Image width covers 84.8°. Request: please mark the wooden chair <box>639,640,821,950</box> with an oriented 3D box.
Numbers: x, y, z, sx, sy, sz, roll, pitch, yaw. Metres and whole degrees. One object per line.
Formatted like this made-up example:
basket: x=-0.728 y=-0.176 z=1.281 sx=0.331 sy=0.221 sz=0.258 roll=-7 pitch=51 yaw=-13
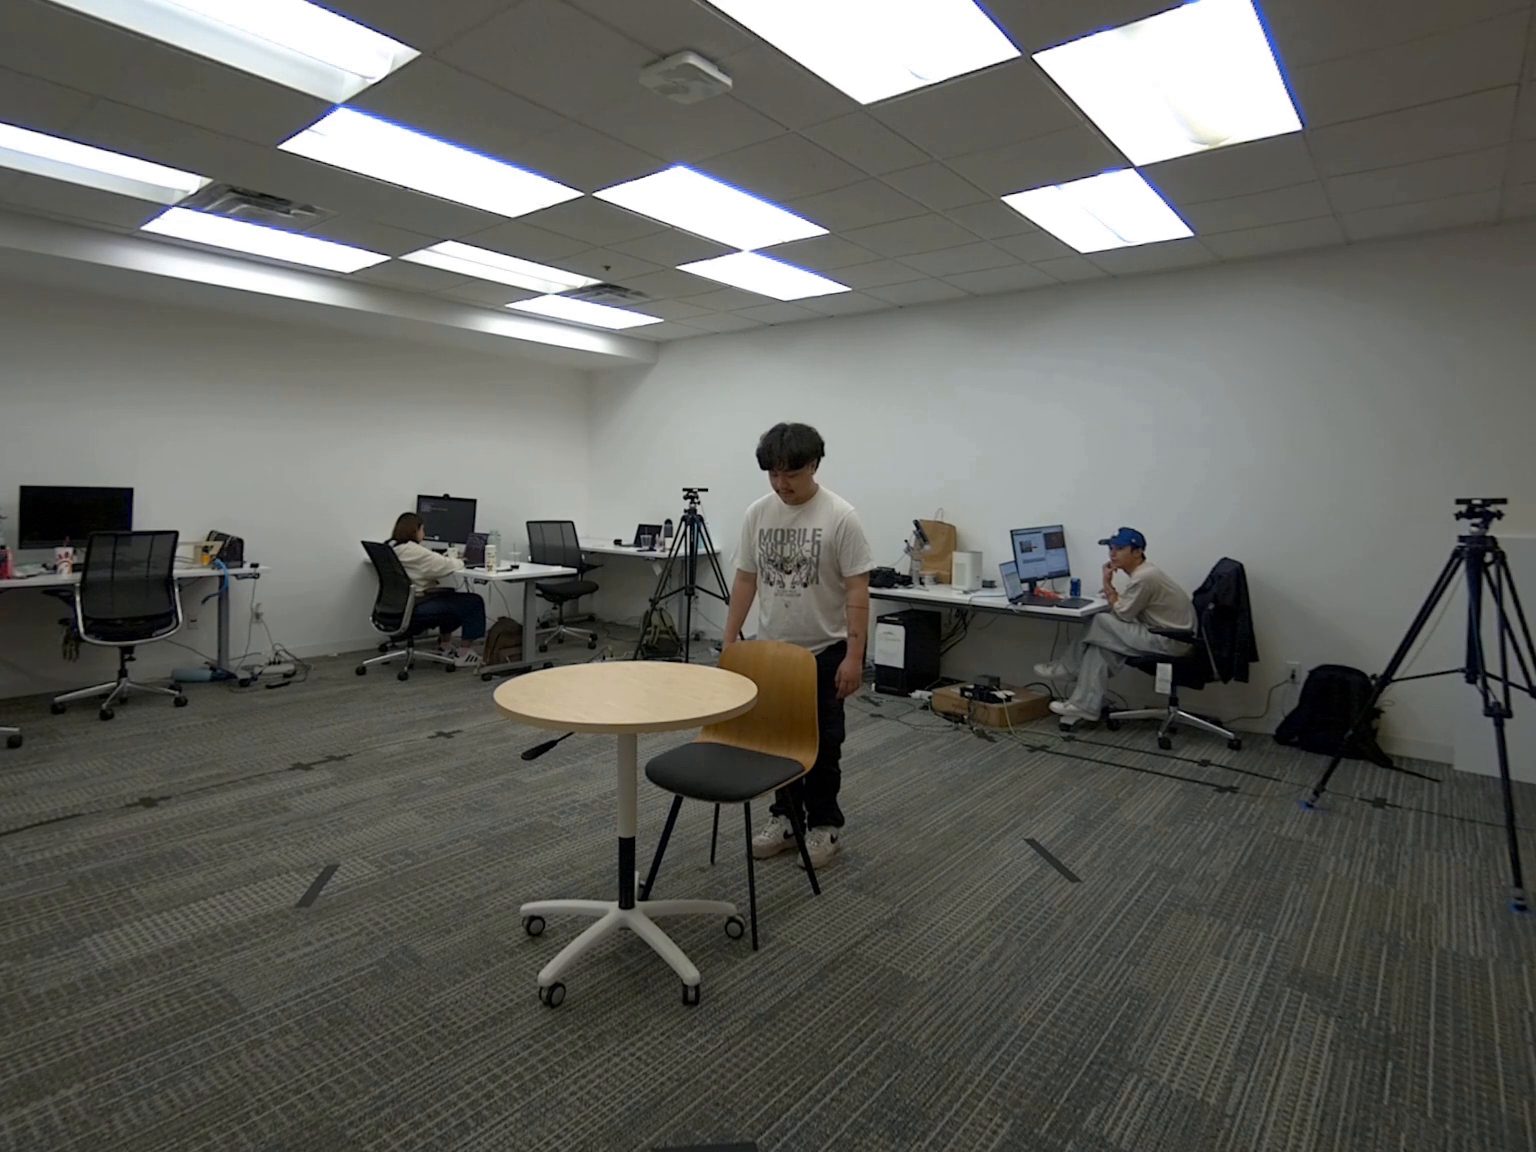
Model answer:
wooden chair: x=-0.121 y=0.671 z=2.835 sx=0.493 sy=0.877 sz=0.507 roll=4 pitch=0 yaw=31
